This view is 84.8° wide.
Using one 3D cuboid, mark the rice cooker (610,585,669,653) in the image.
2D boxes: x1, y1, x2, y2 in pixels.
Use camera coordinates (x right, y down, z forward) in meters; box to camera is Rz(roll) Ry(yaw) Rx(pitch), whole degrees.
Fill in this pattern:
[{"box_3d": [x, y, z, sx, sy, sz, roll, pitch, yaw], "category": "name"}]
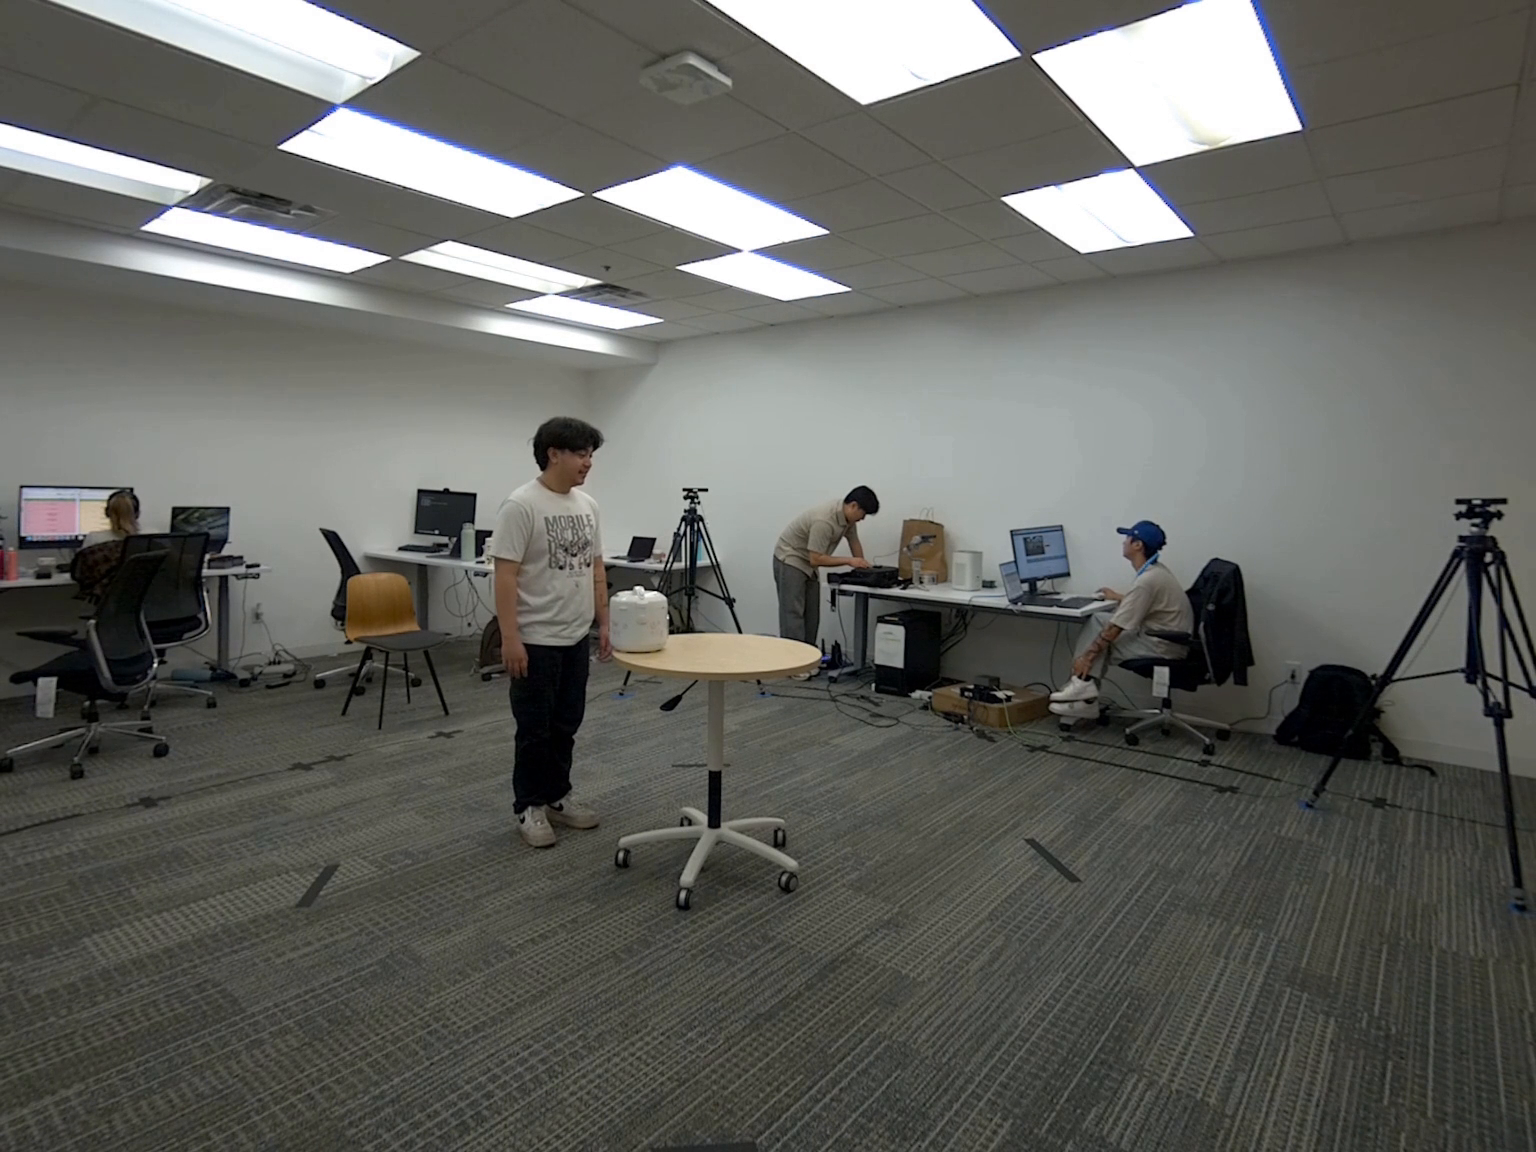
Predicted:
[{"box_3d": [-0.485, 0.151, 3.130, 0.215, 0.232, 0.224, -2, 5, -12], "category": "rice cooker"}]
